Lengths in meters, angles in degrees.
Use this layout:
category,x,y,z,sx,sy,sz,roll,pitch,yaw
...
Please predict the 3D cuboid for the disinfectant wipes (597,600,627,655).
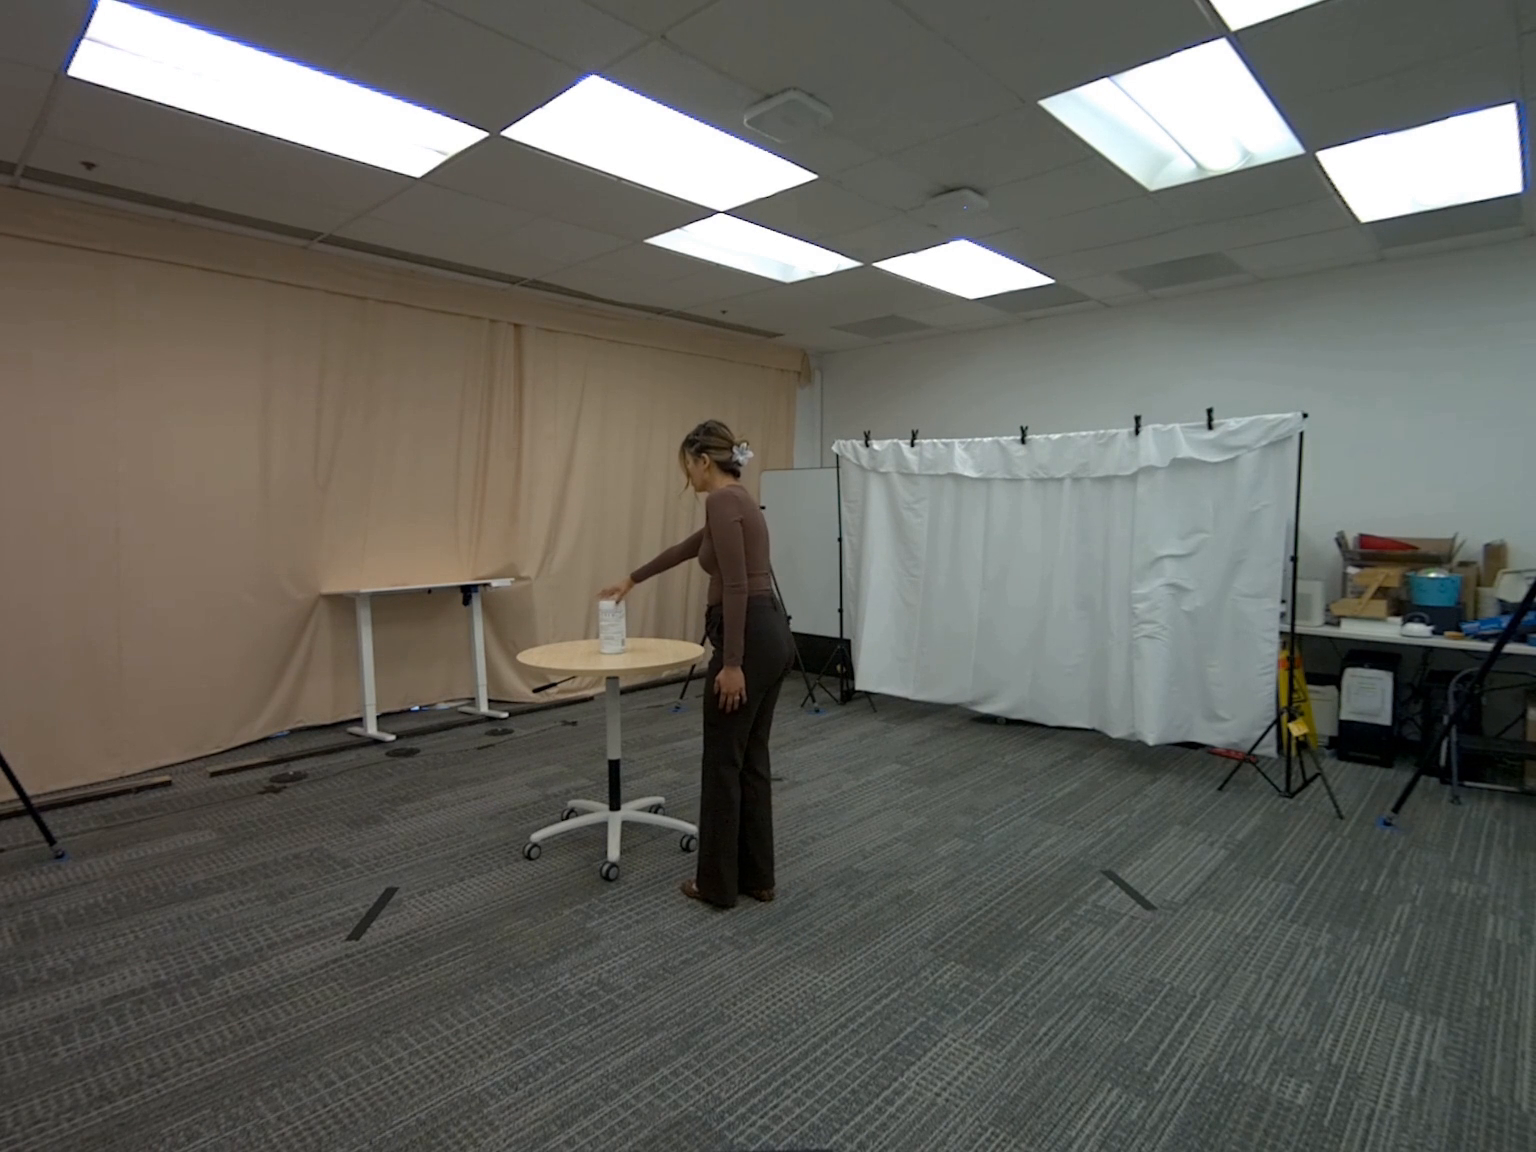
category,x,y,z,sx,sy,sz,roll,pitch,yaw
disinfectant wipes,-0.640,0.206,3.461,0.118,0.217,0.118,0,3,-2
